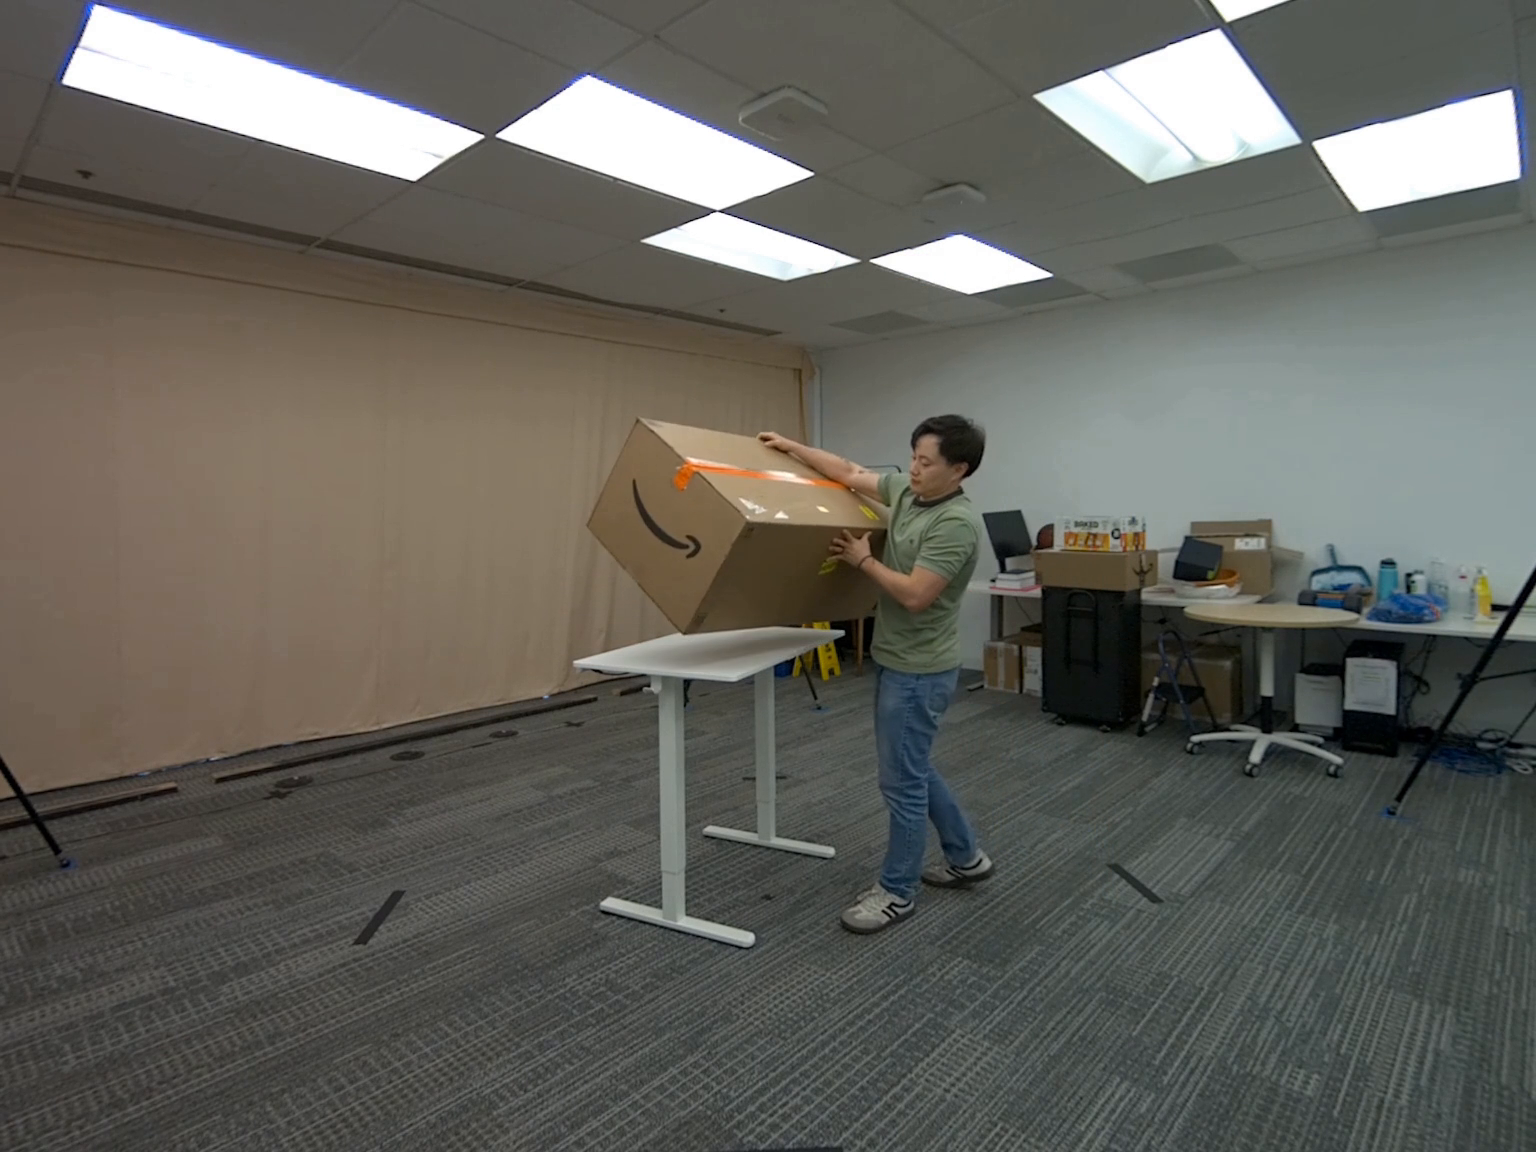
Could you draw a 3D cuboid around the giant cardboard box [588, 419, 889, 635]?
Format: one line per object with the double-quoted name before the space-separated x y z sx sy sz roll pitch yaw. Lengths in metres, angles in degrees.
"giant cardboard box" -0.011 -0.170 2.967 0.993 0.426 0.596 0 37 -50
